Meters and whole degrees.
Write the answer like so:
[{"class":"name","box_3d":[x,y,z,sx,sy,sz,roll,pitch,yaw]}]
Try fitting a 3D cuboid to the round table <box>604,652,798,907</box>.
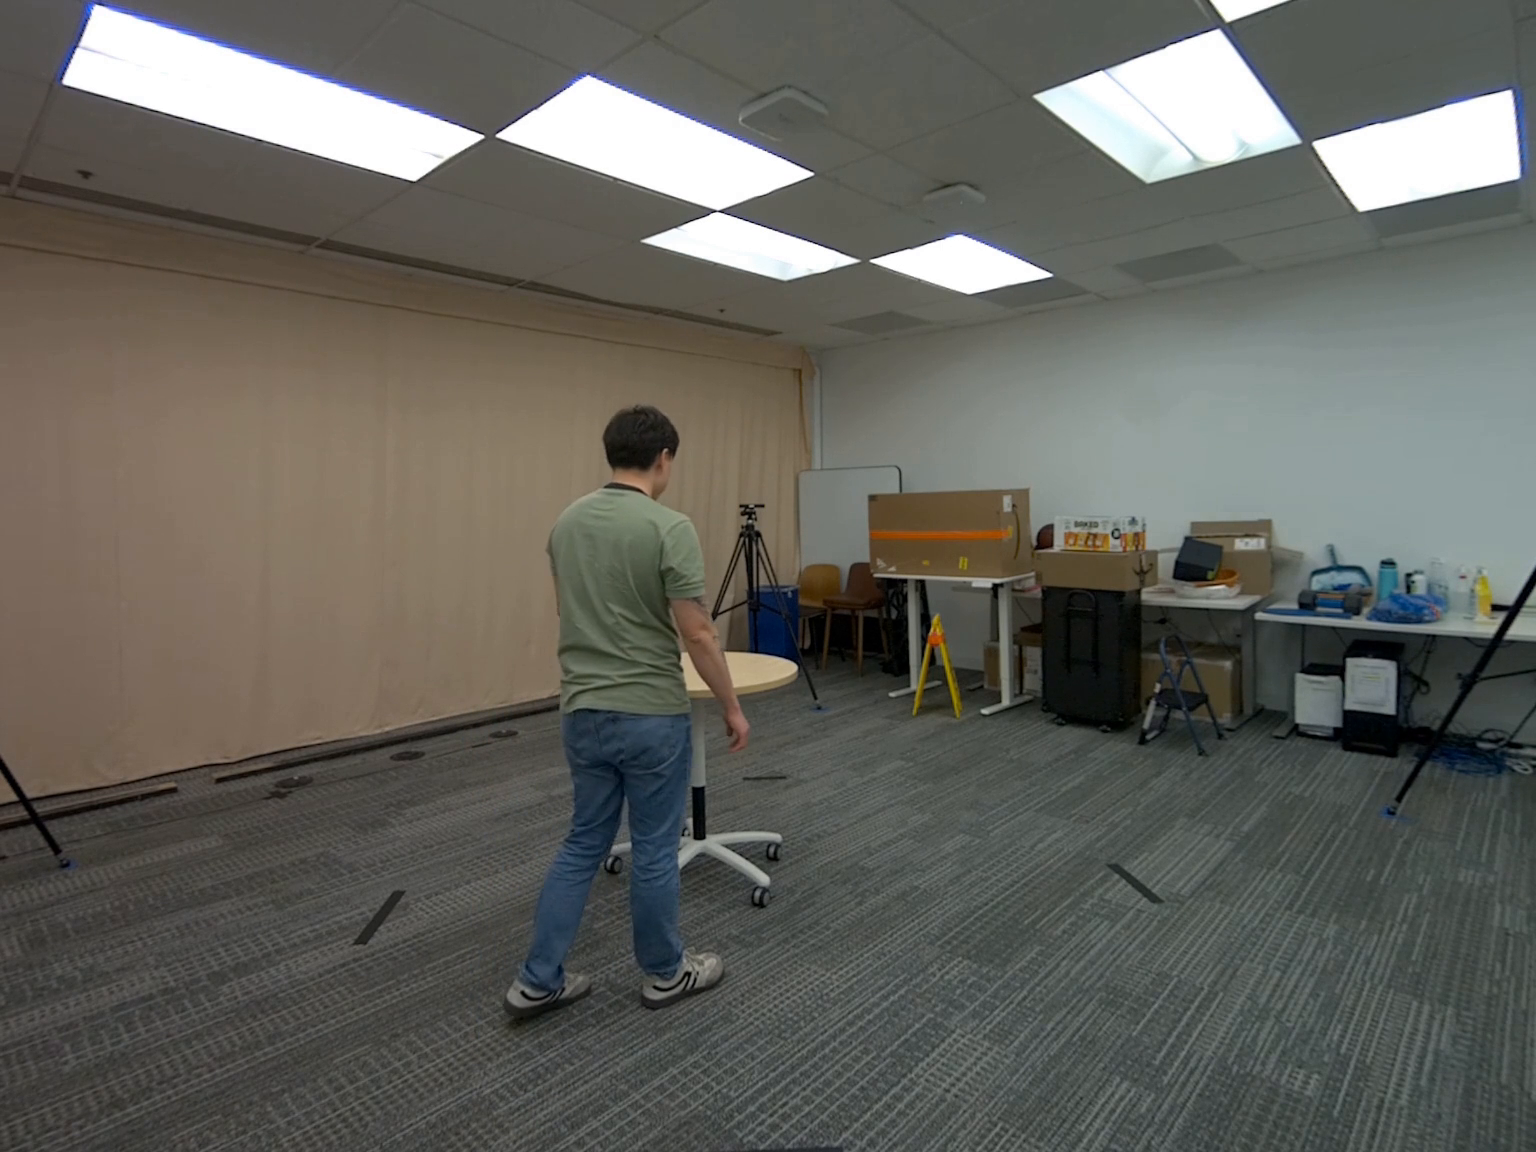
[{"class":"round table","box_3d":[-0.257,0.739,3.153,0.763,0.792,0.766,-1,3,-2]}]
